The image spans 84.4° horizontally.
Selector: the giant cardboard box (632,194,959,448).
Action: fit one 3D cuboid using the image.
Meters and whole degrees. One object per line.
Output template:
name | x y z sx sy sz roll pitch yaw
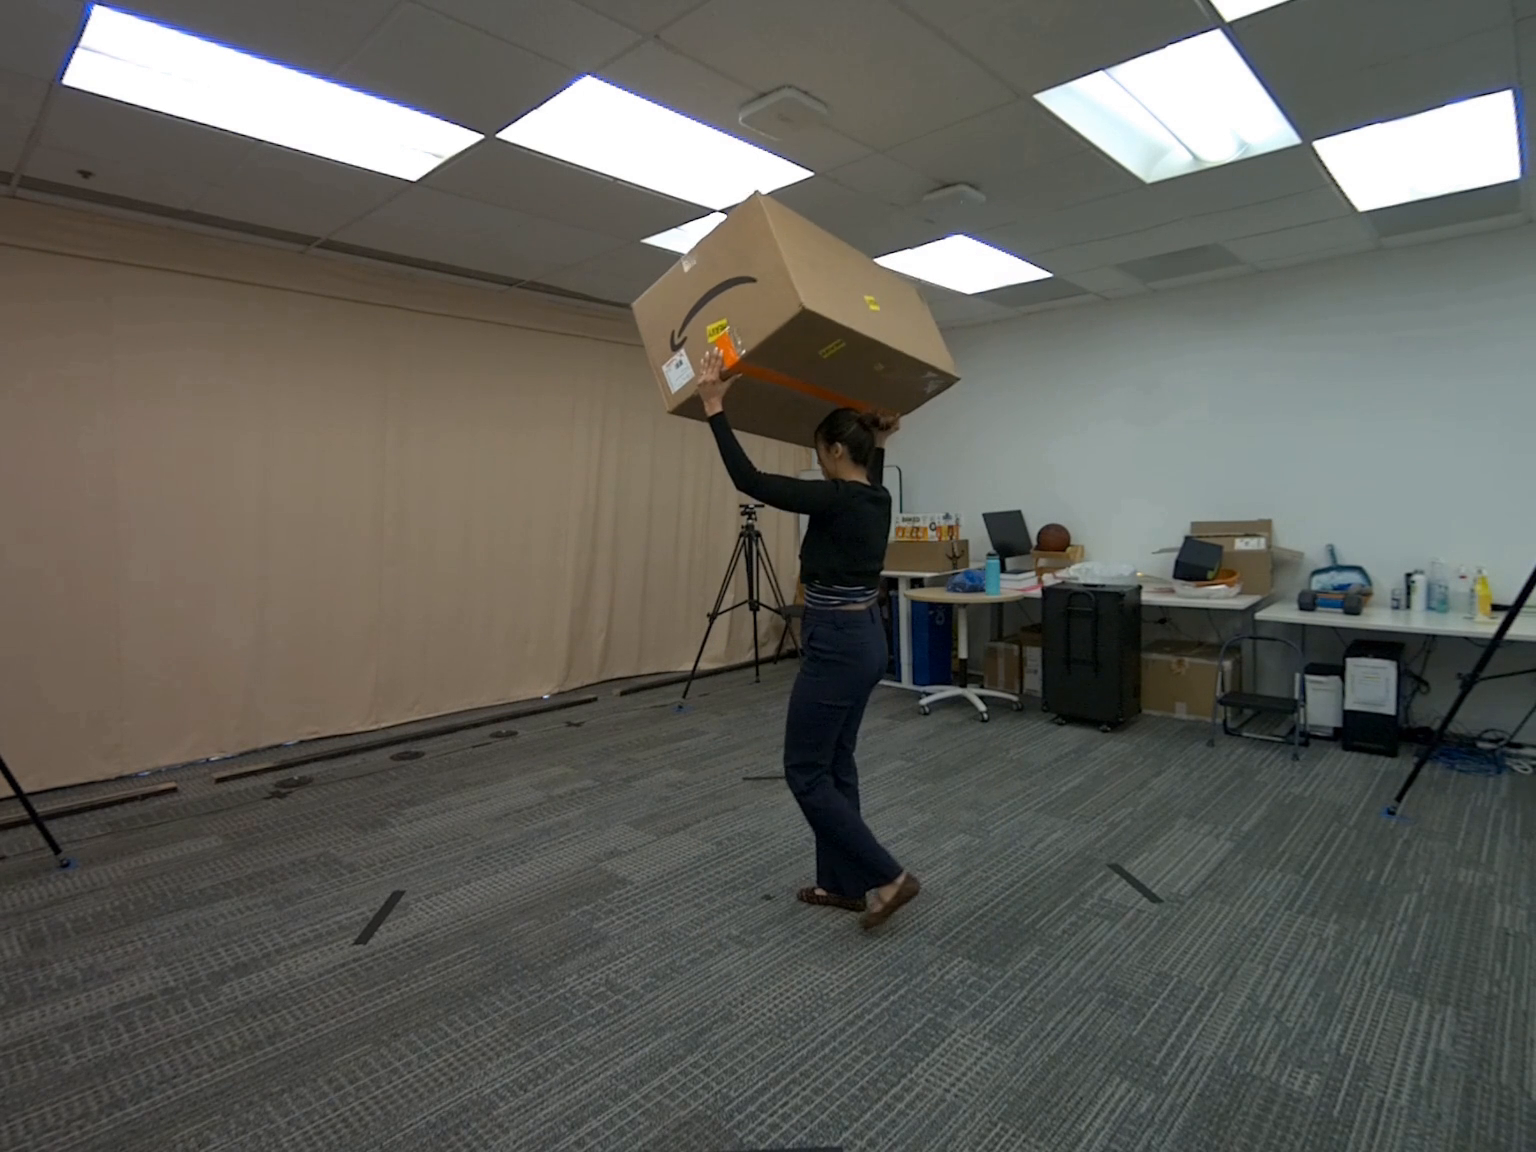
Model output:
giant cardboard box | 0.138 -0.793 2.920 0.587 0.433 0.993 -29 -19 34
